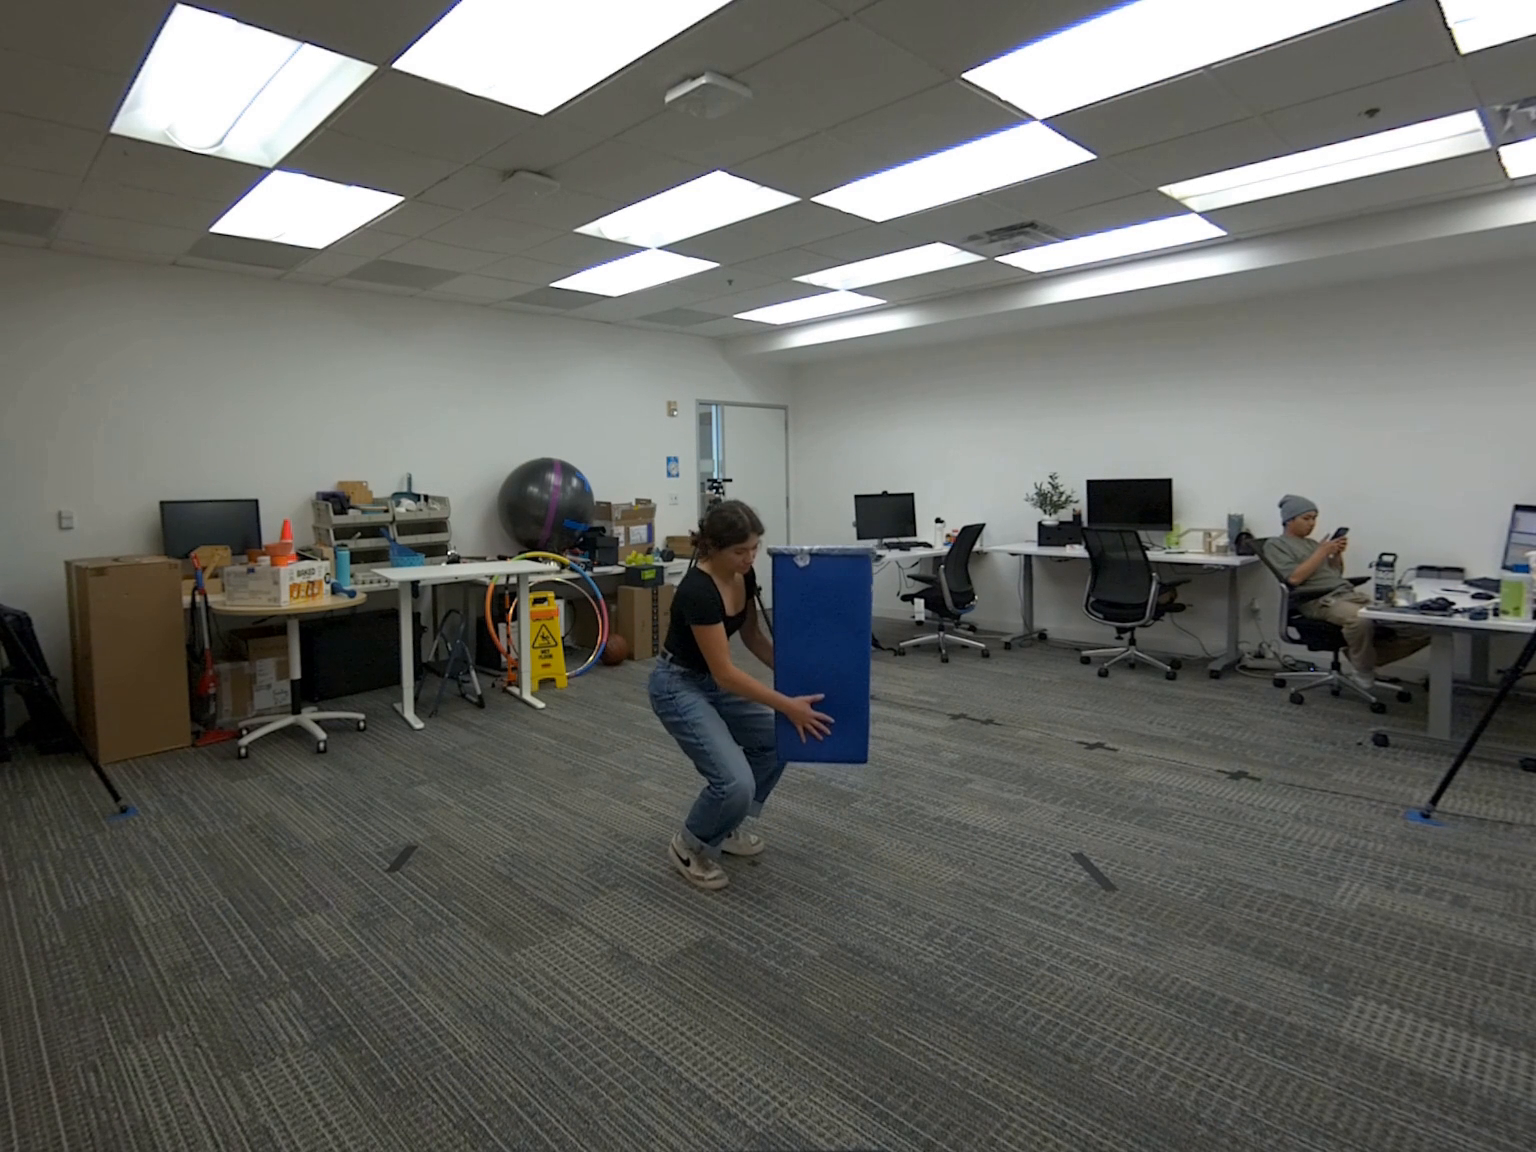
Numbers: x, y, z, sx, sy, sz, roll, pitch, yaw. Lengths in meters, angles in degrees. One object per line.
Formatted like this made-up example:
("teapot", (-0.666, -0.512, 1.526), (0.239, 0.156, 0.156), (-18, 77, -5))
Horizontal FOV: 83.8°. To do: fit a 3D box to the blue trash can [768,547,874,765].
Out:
("blue trash can", (0.181, 0.266, 3.000), (0.380, 0.717, 0.371), (0, -5, 4))
